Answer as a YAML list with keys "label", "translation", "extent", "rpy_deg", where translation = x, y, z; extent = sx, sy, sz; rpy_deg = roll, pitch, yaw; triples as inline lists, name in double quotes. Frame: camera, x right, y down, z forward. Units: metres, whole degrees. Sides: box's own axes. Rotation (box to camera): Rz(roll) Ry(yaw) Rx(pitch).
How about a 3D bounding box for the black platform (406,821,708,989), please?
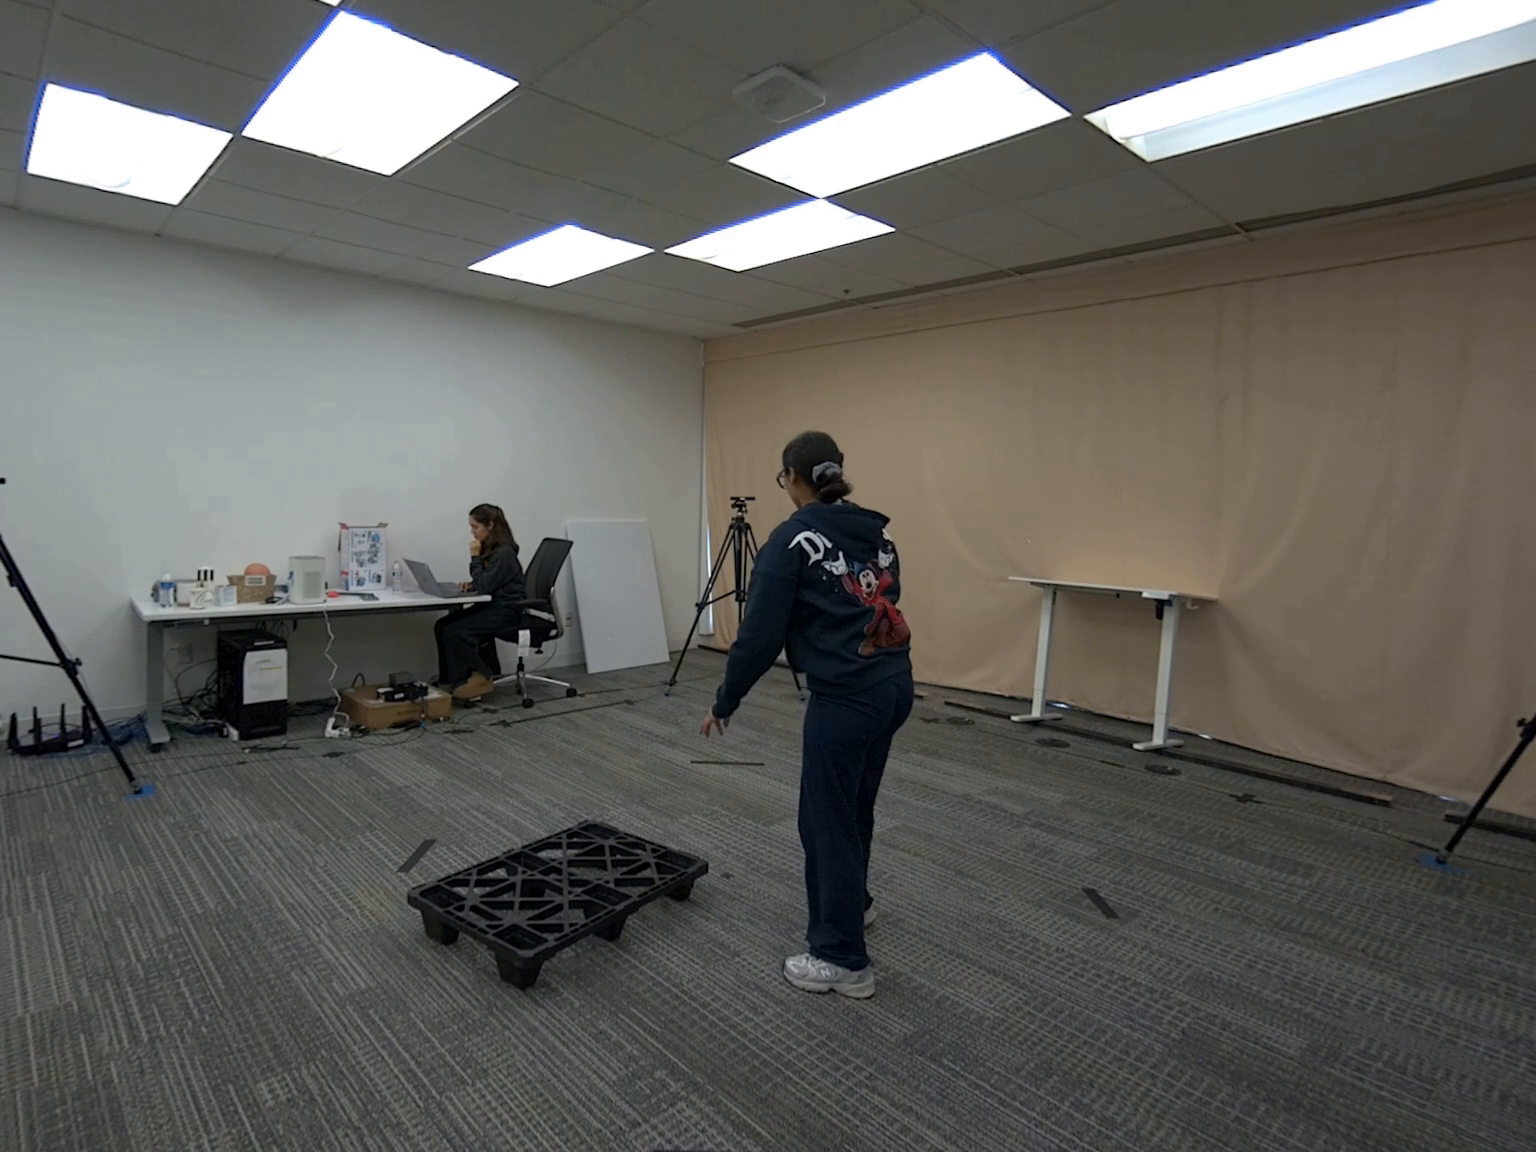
- label: "black platform"
  translation: [-0.668, 1.059, 2.782]
  extent: [0.620, 0.143, 0.789]
  rpy_deg: [5, 7, 36]
